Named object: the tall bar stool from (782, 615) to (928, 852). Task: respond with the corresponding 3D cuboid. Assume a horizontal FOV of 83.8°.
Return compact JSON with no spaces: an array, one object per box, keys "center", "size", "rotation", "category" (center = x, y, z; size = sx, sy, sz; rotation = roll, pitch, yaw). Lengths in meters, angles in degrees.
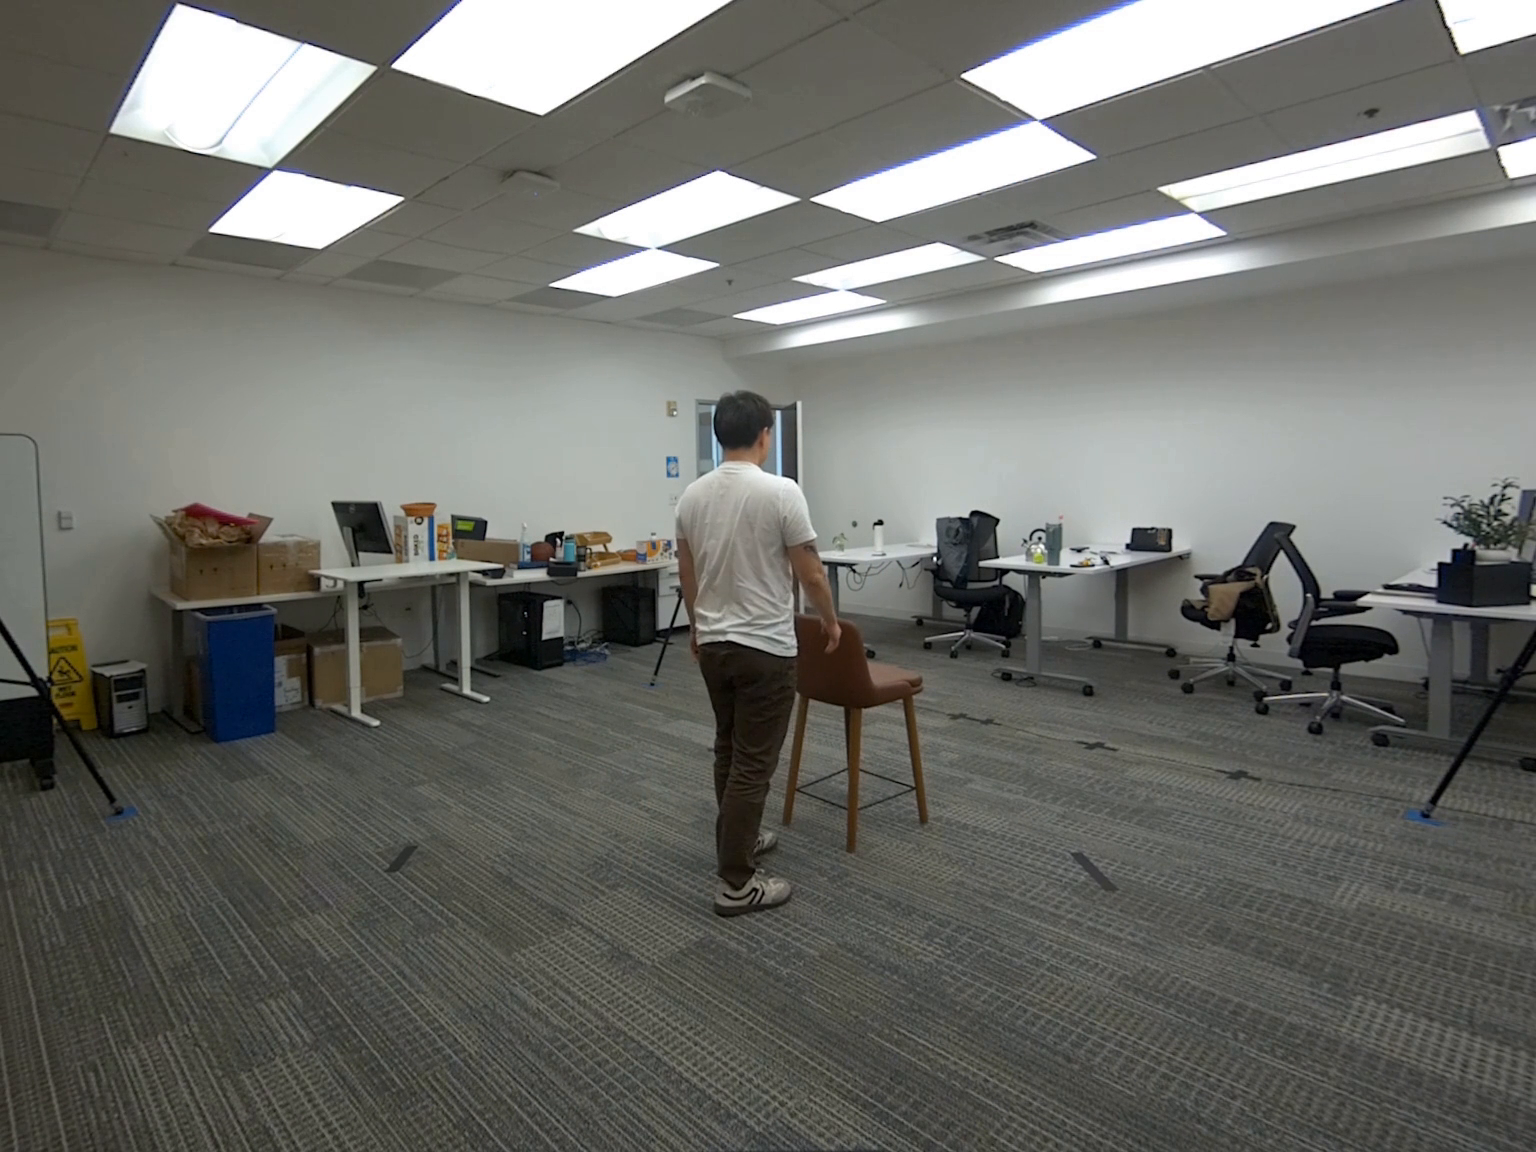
[{"center":[0.337,0.566,3.431],"size":[0.456,0.885,0.470],"rotation":[-7,7,-41],"category":"tall bar stool"}]
